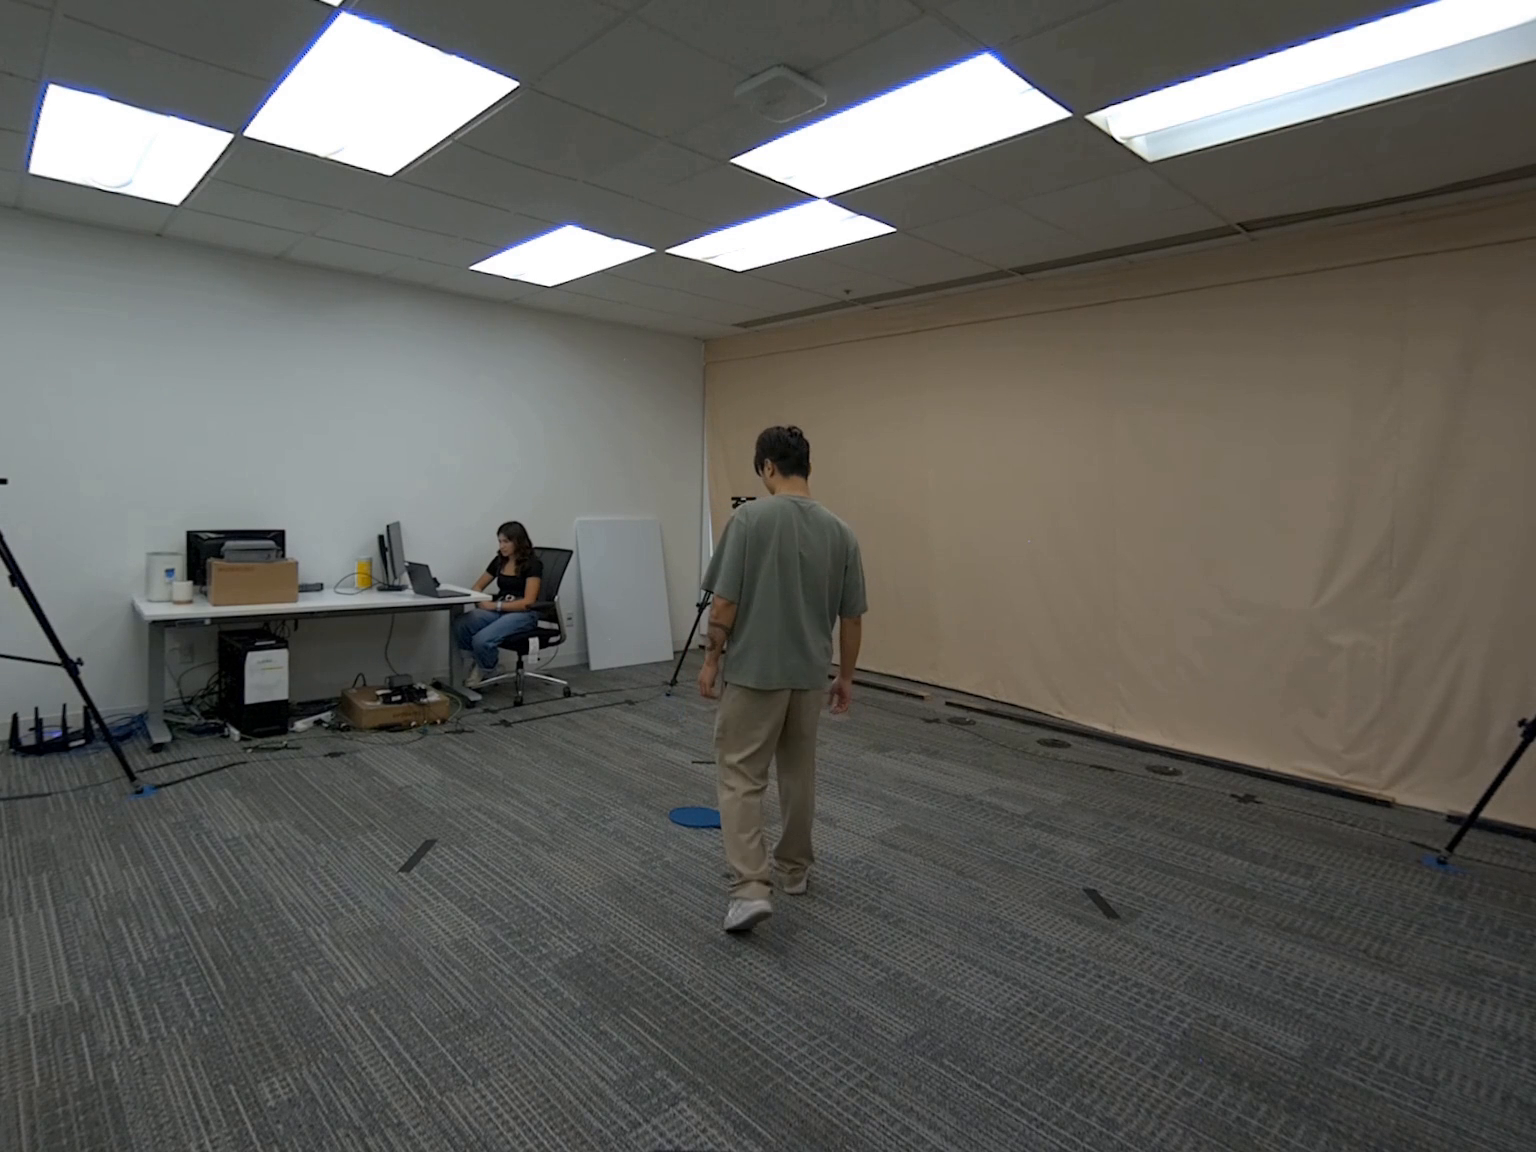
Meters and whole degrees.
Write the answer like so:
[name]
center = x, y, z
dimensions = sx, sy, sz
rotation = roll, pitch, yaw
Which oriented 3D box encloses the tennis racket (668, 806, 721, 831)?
[tennis racket]
center = -0.249, 1.045, 3.606
dimensions = 0.443, 0.032, 0.209
rotation = 3, 6, 36
